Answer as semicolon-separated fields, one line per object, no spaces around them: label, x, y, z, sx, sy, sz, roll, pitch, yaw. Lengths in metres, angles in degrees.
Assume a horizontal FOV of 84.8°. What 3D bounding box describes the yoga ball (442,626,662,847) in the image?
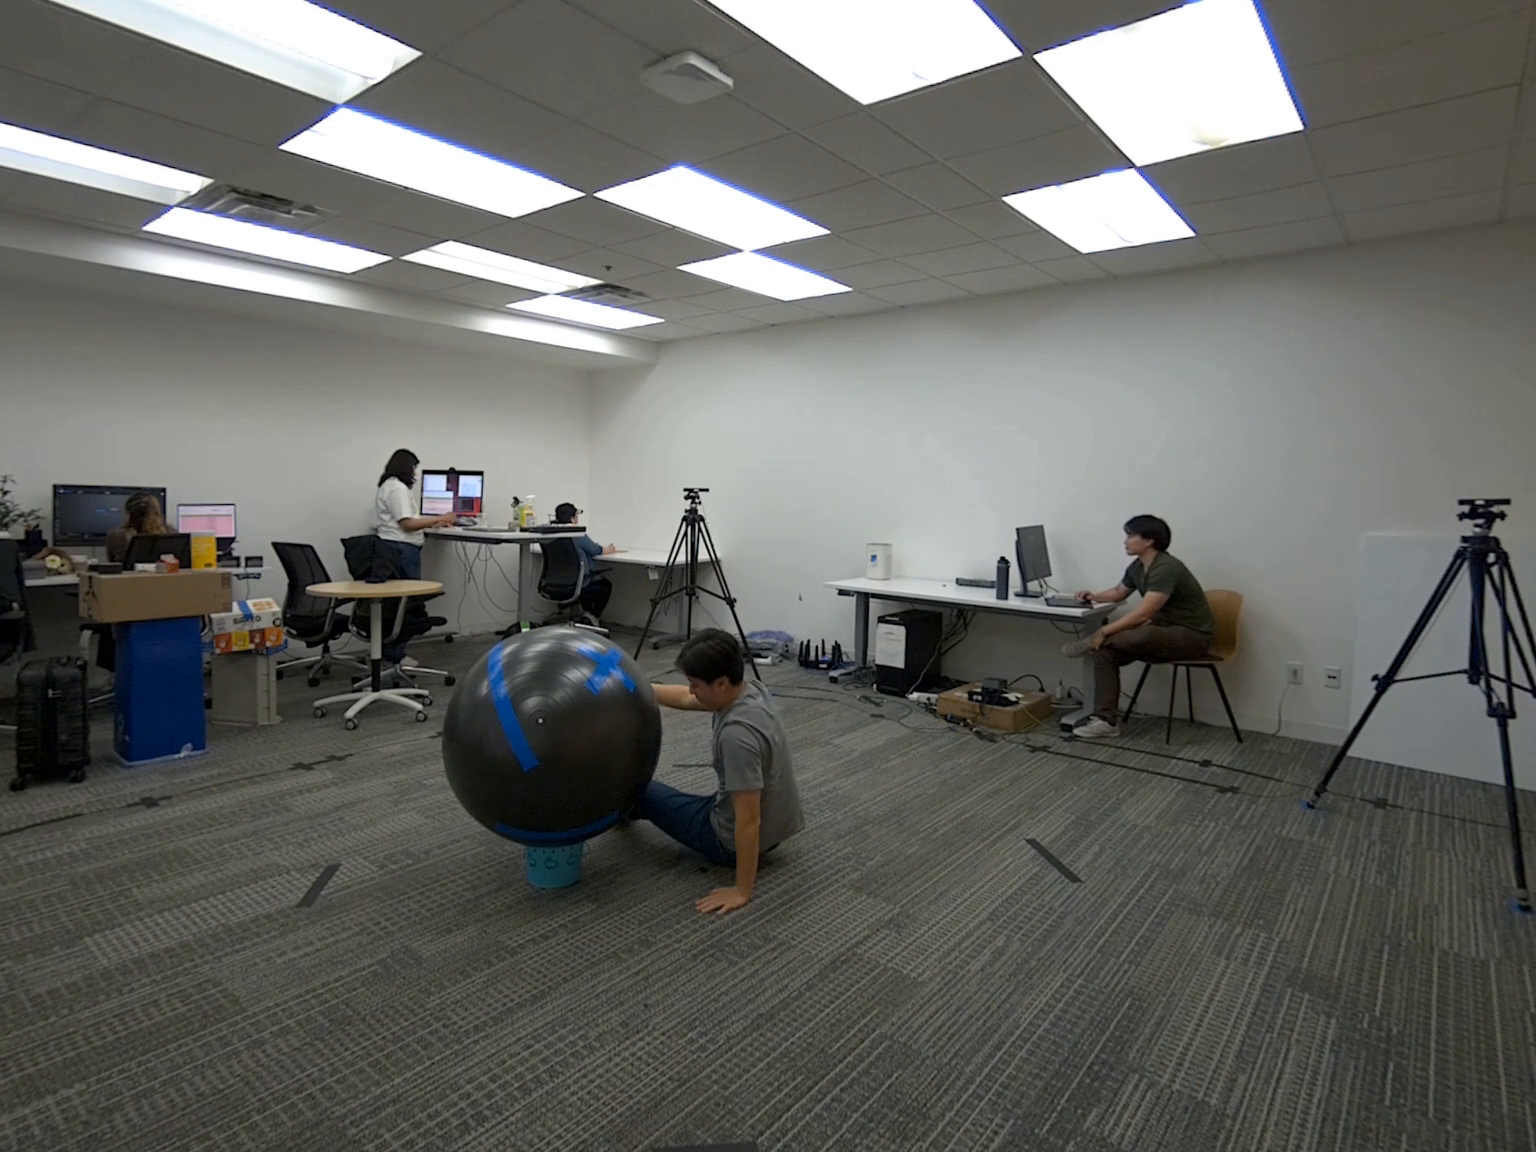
yoga ball;-0.781;0.561;3.011;0.757;0.756;0.761;1;4;-2
